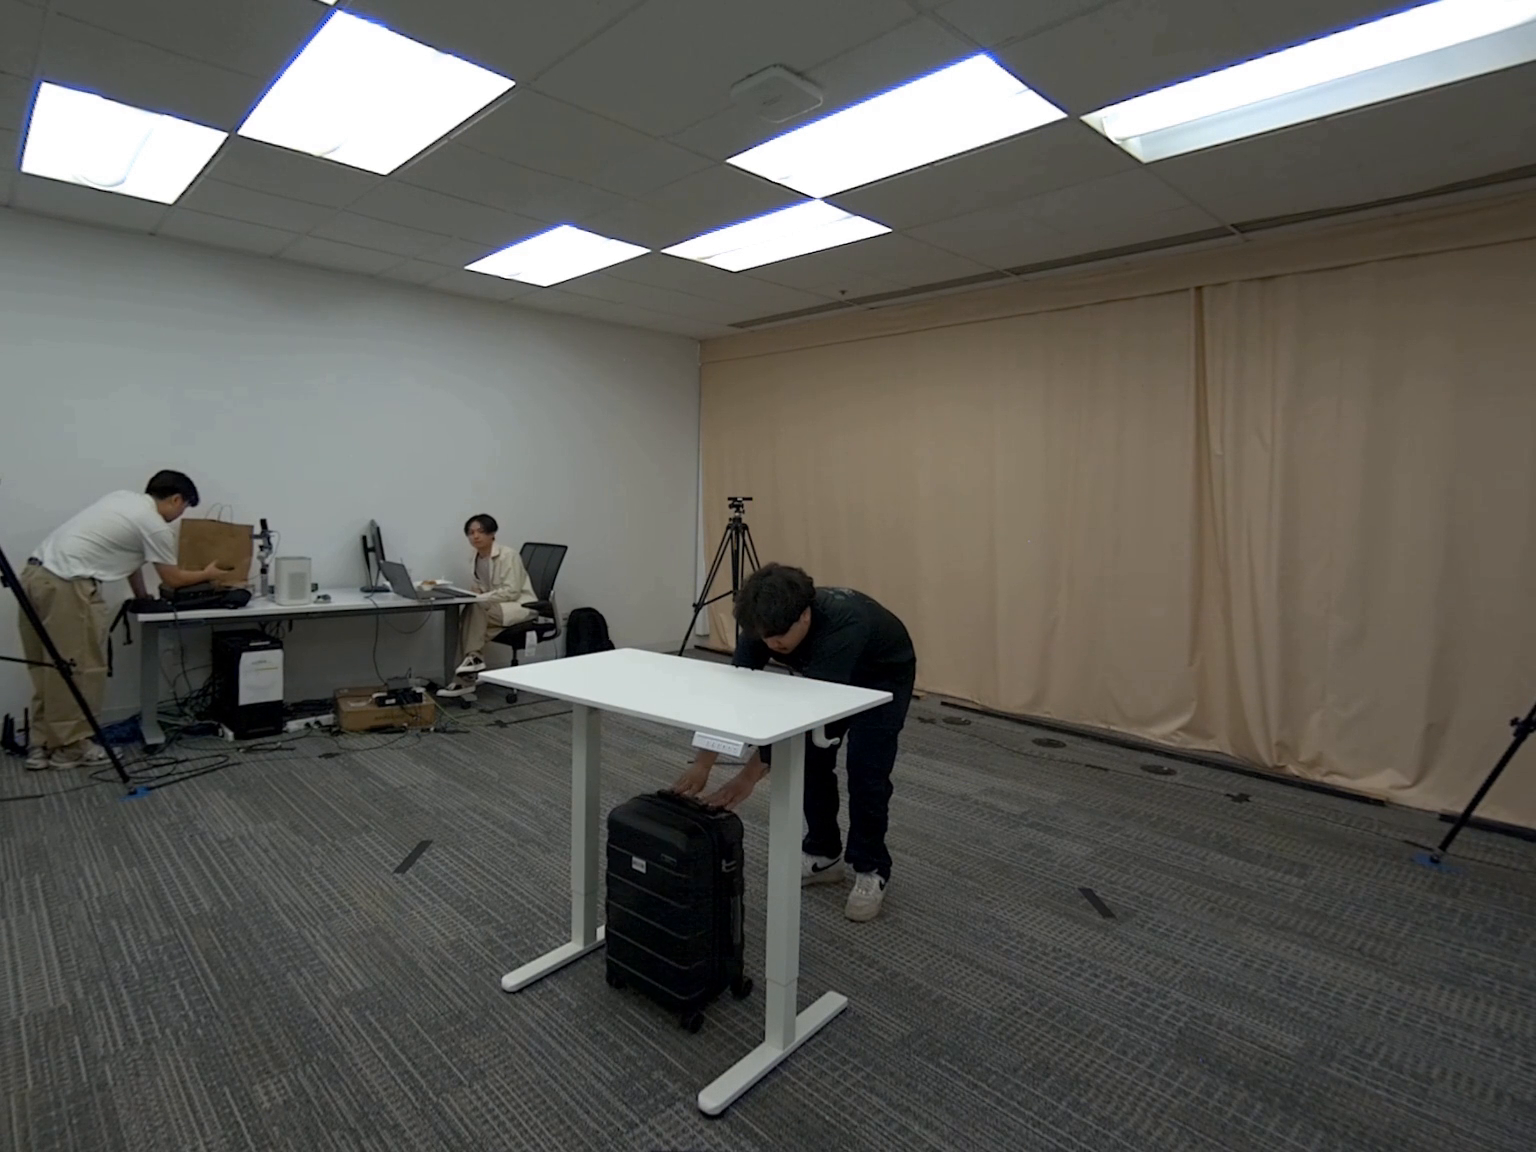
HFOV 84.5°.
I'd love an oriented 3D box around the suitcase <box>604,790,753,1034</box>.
[{"bbox_3d":[-0.266,0.910,2.340,0.384,0.547,0.243,3,7,38],"label":"suitcase"}]
